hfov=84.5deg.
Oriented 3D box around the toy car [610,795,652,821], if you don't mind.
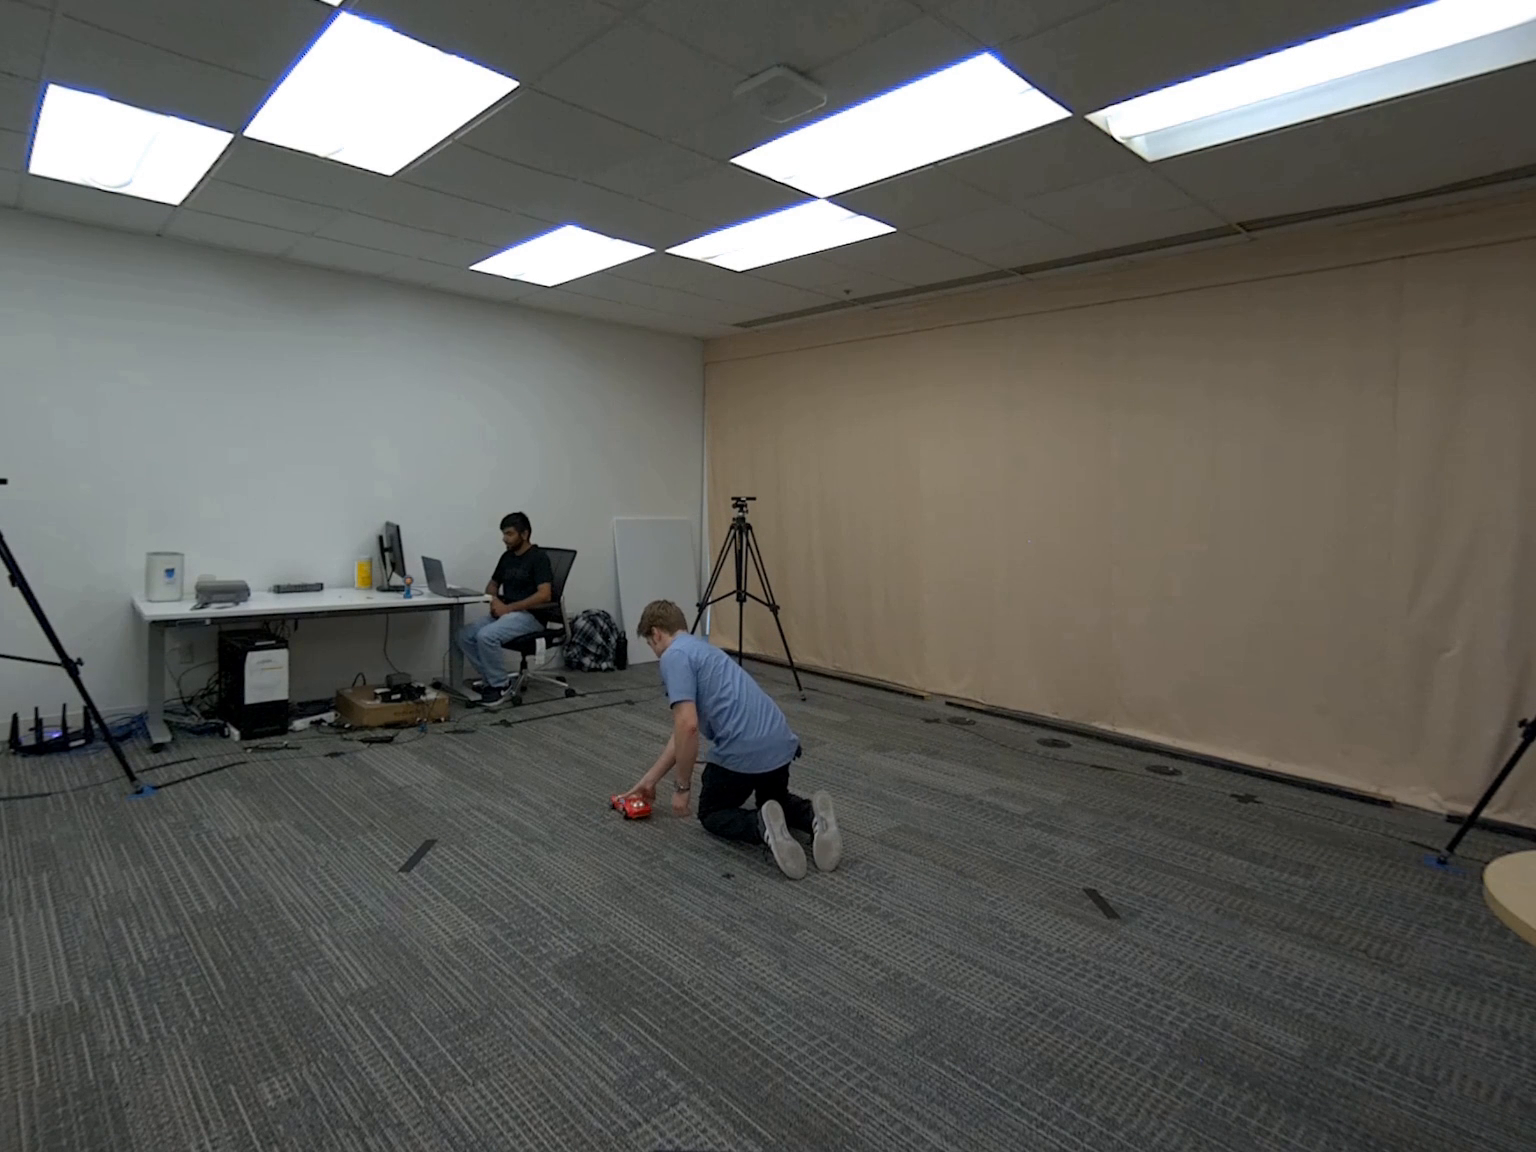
[{"bbox_3d":[-0.606,1.008,3.698,0.127,0.083,0.259,-1,-5,-33],"label":"toy car"}]
